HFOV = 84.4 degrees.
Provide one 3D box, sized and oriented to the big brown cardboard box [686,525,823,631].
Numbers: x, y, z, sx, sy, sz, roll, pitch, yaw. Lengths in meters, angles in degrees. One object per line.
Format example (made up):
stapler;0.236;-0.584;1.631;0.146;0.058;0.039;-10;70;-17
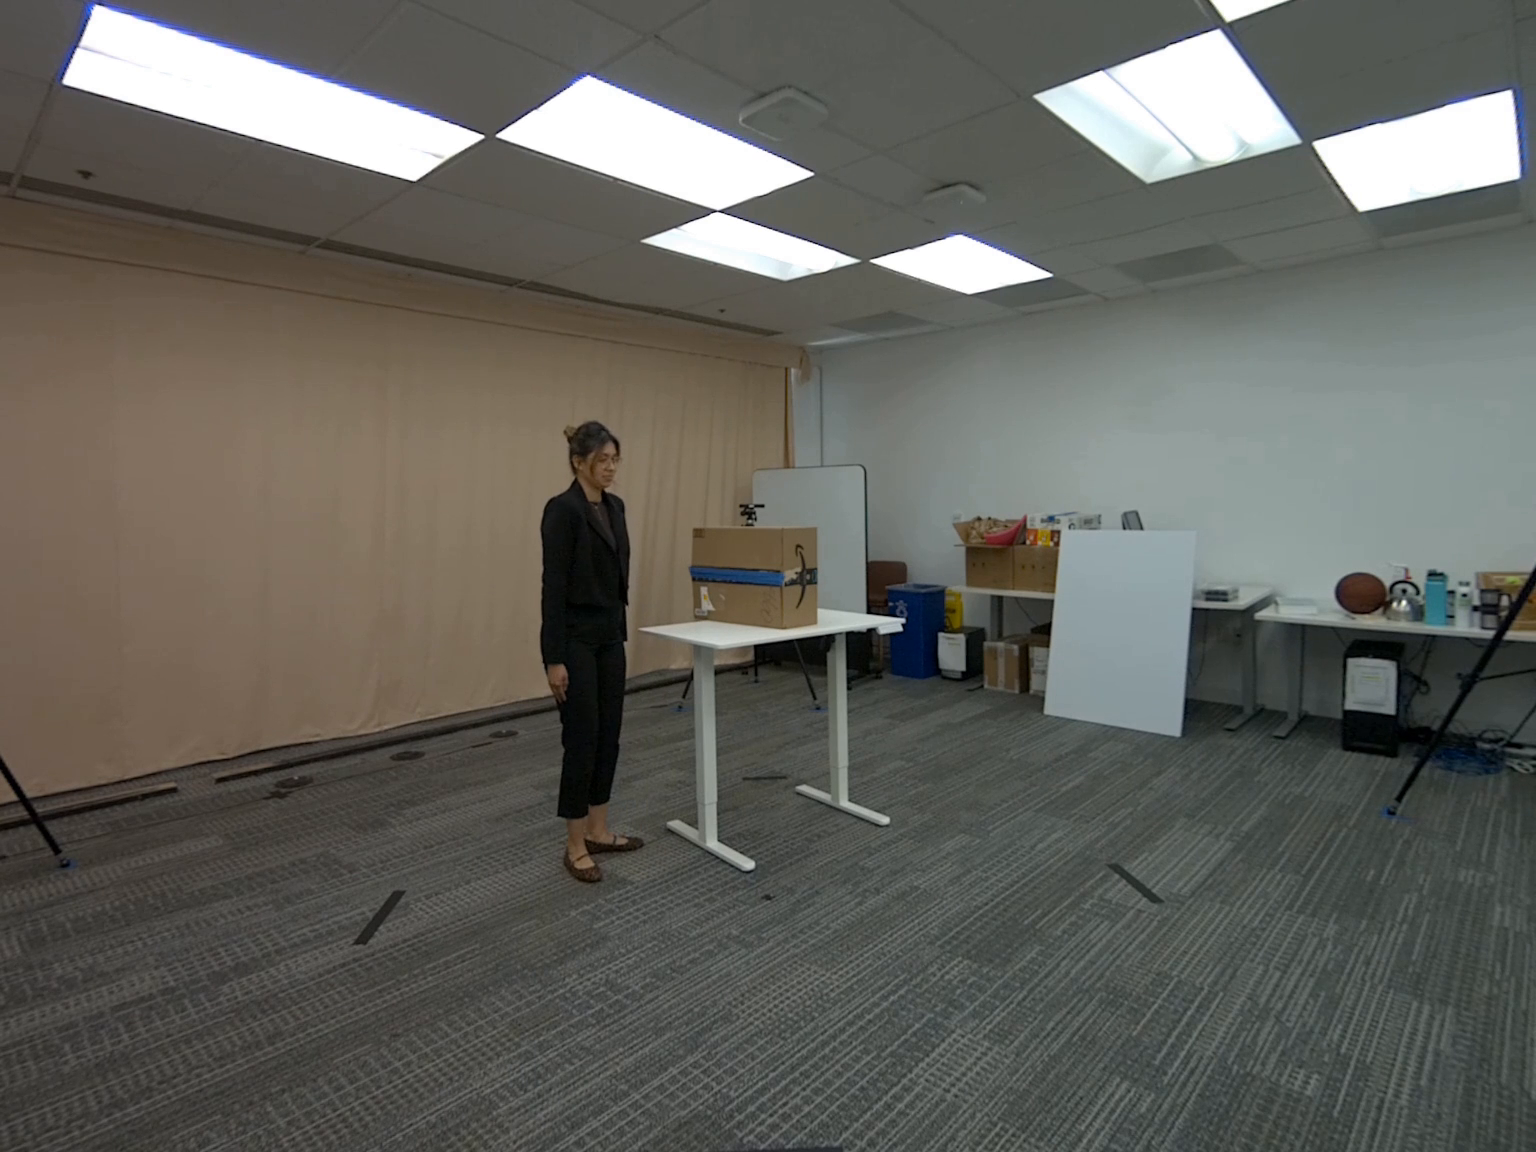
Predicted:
big brown cardboard box;-0.072;-0.009;3.692;0.226;0.417;0.608;-4;5;-44
